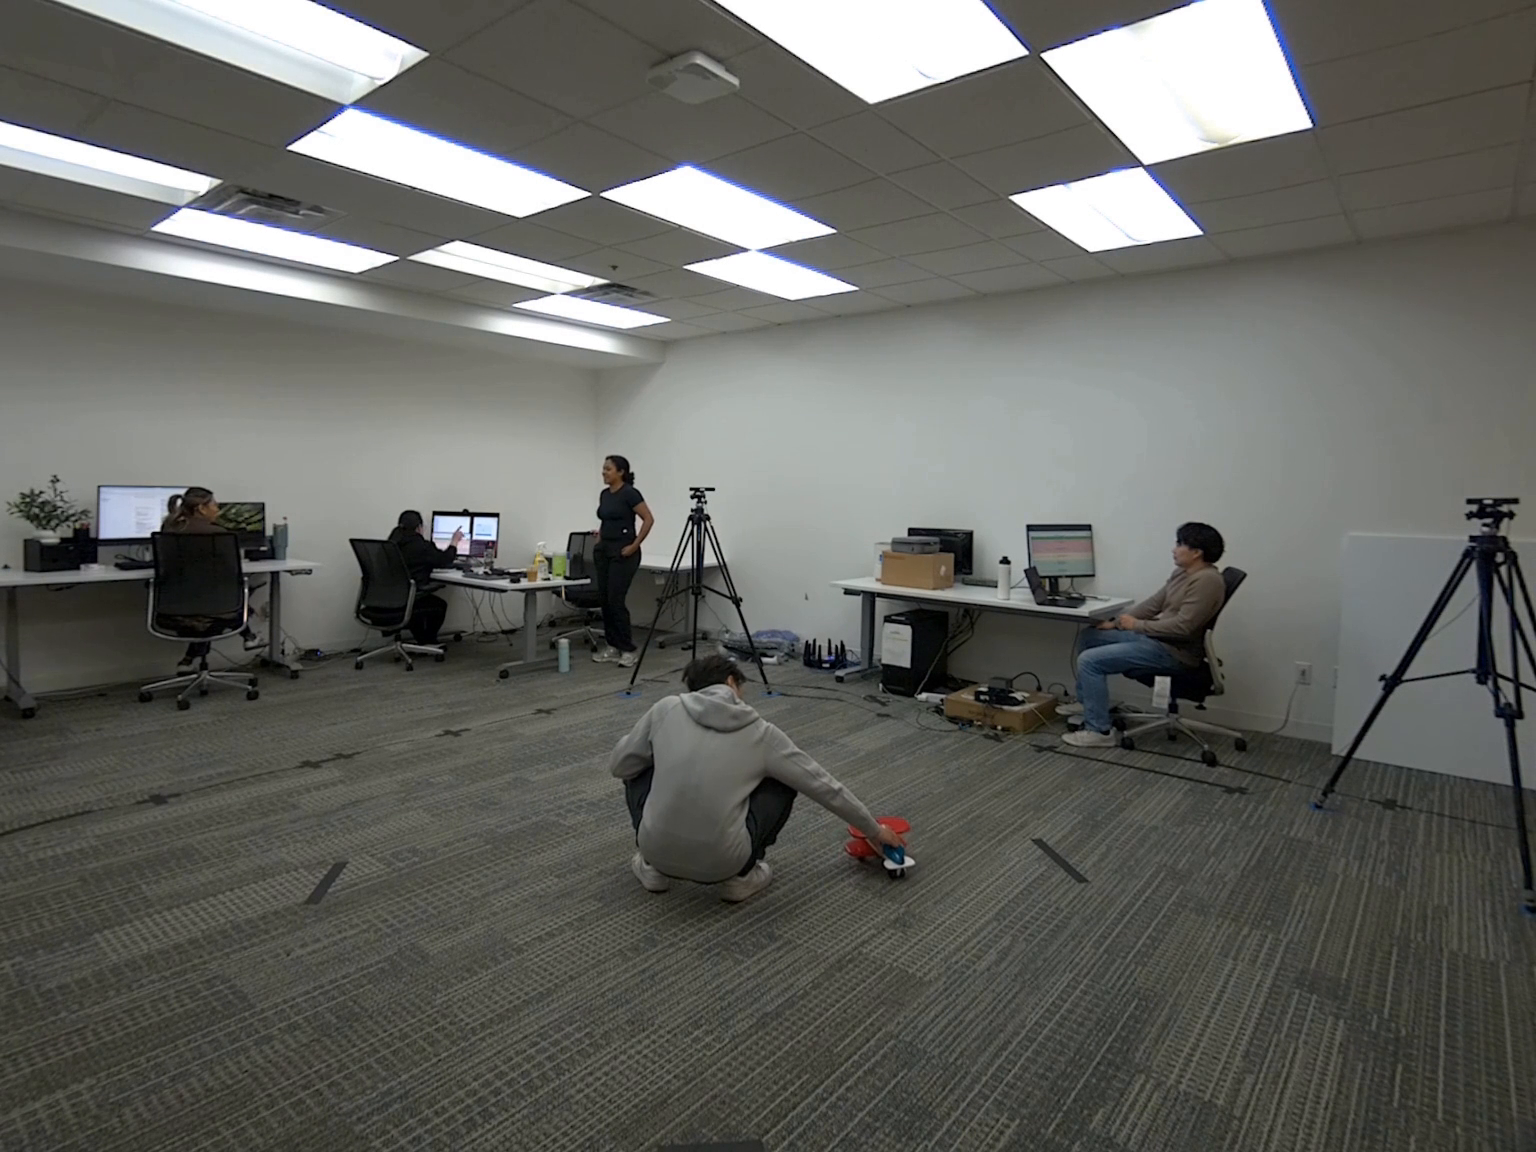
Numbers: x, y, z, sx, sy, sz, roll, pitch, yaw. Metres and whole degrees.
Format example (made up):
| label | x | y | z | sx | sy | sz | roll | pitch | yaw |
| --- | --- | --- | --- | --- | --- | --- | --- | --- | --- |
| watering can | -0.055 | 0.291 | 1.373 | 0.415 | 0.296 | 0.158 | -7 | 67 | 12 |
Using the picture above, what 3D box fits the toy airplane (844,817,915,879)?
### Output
| label | x | y | z | sx | sy | sz | roll | pitch | yaw |
| --- | --- | --- | --- | --- | --- | --- | --- | --- | --- |
| toy airplane | 0.431 | 1.004 | 3.164 | 0.268 | 0.156 | 0.243 | 6 | 6 | 41 |
